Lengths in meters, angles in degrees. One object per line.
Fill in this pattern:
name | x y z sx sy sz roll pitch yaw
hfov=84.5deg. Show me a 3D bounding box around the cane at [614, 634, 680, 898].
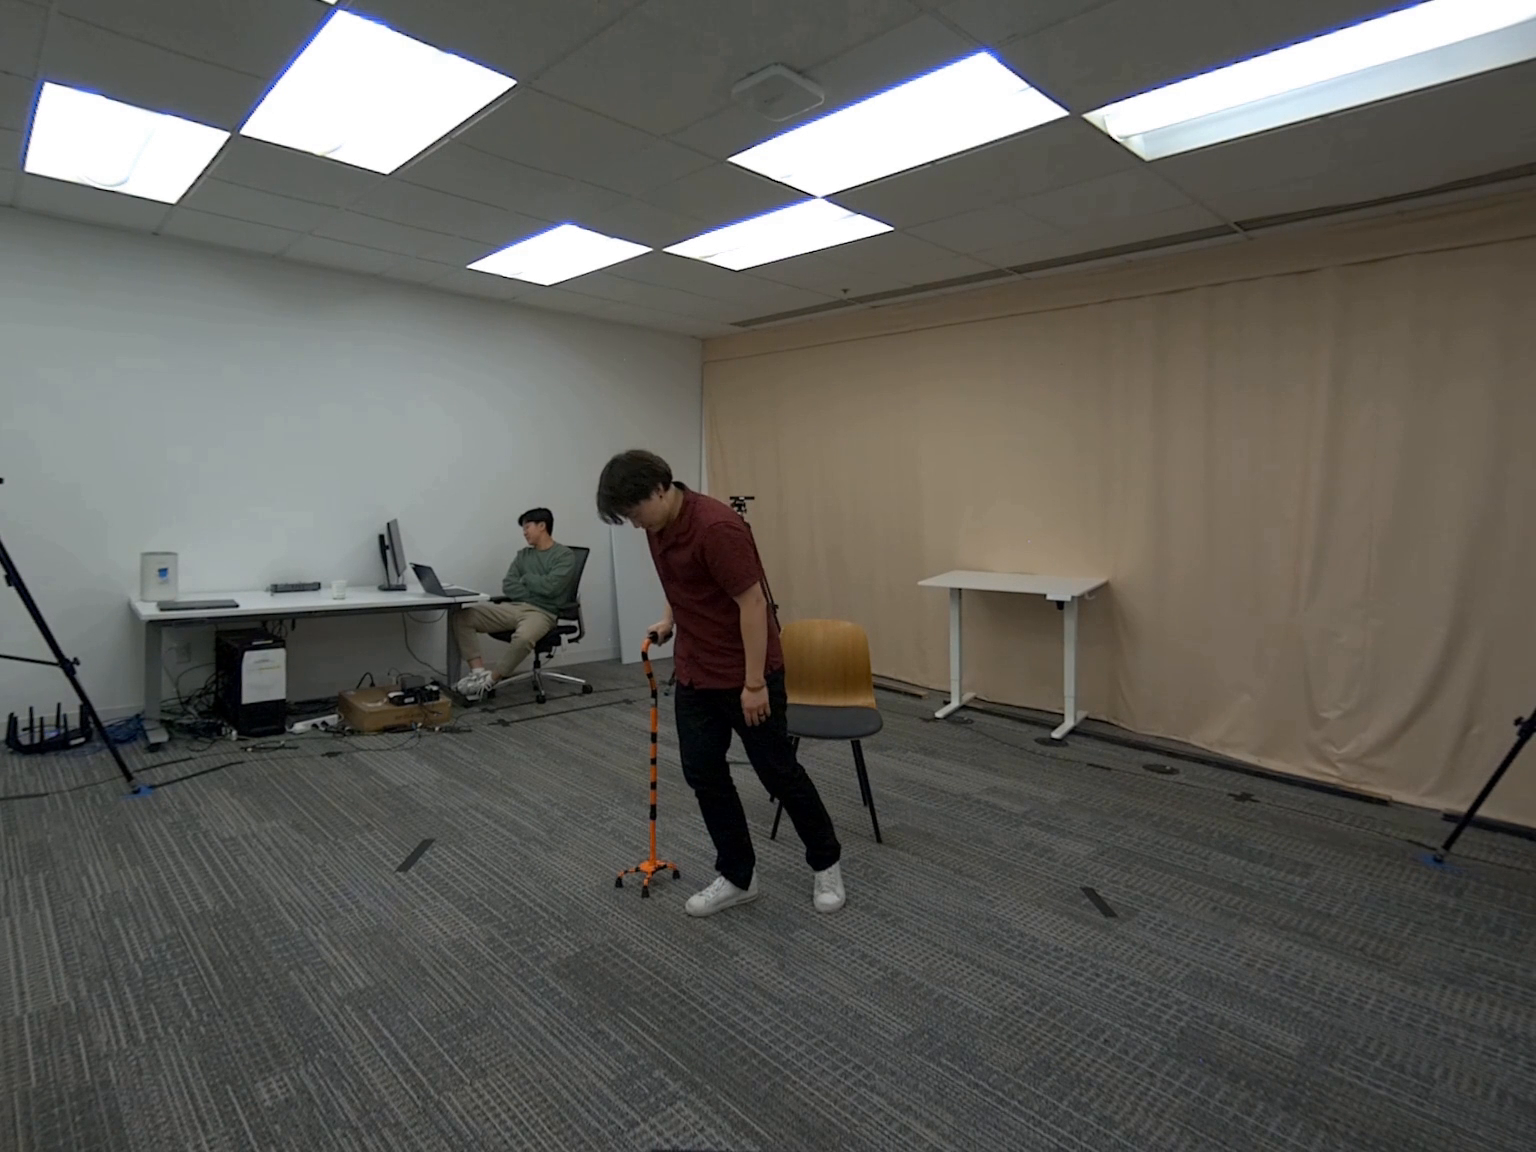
cane | -0.428 0.649 3.014 0.155 0.906 0.202 2 3 32
